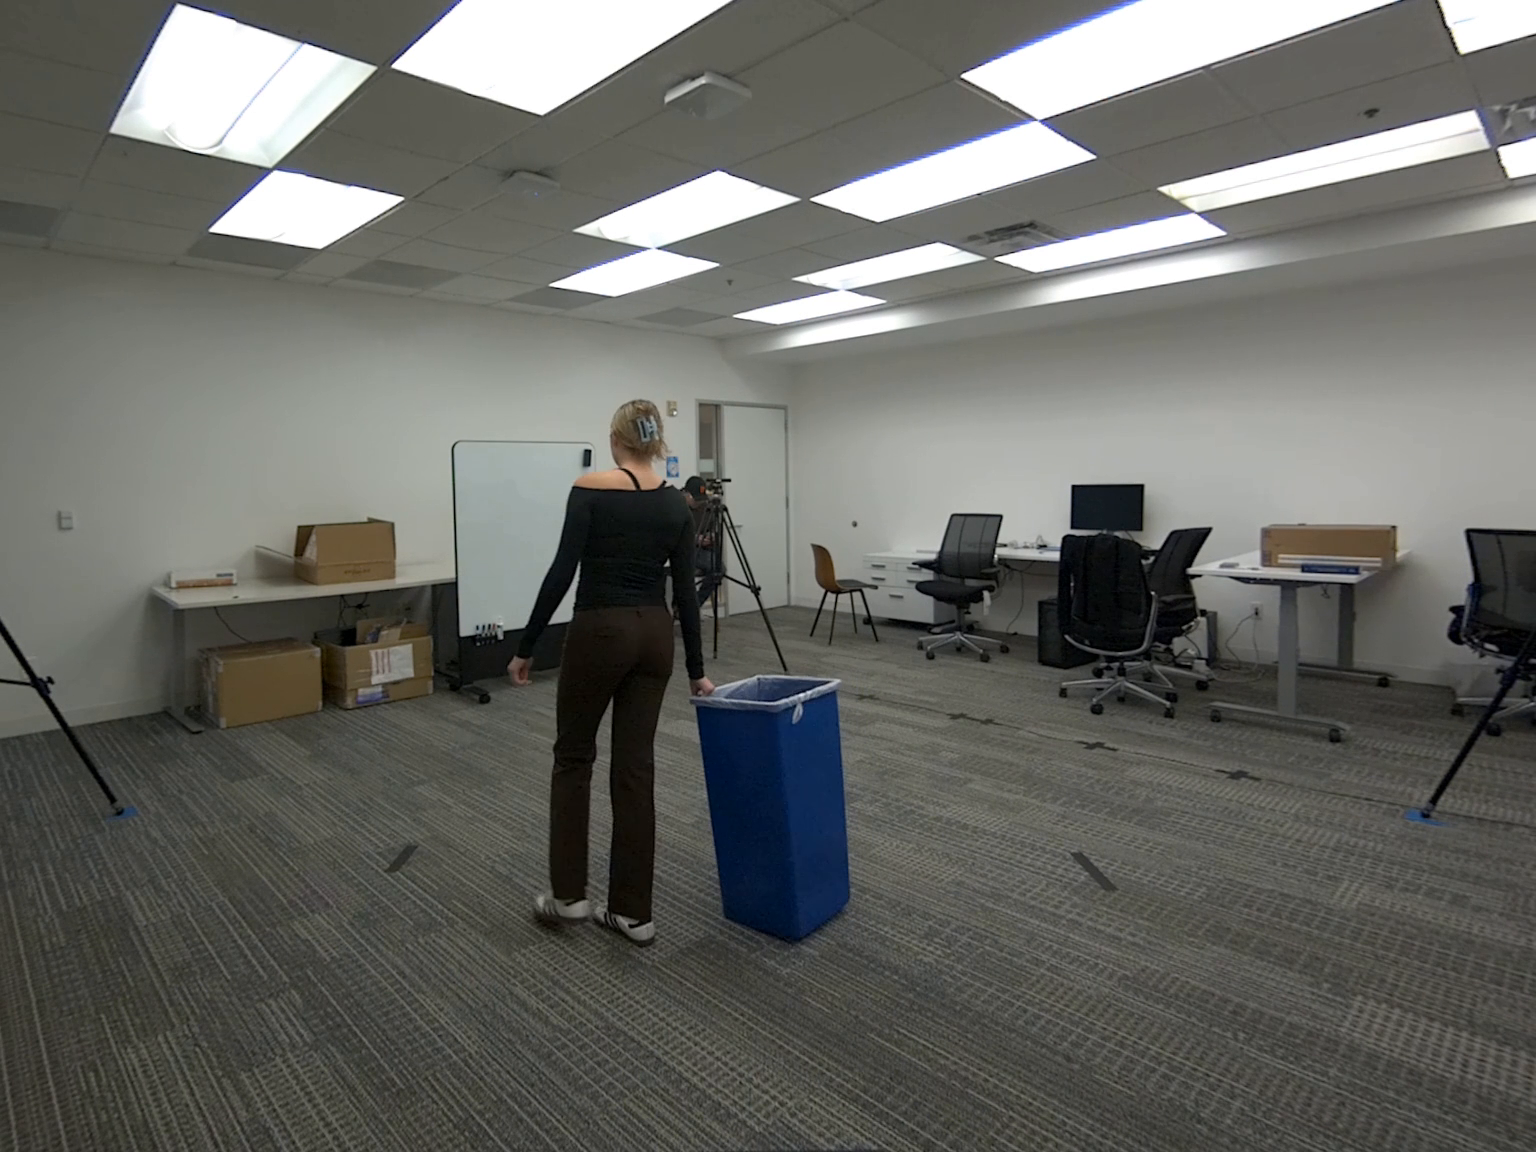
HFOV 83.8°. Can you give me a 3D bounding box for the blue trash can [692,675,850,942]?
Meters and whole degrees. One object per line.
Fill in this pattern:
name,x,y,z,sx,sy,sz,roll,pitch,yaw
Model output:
blue trash can,0.023,0.715,2.754,0.384,0.713,0.368,-4,1,40
